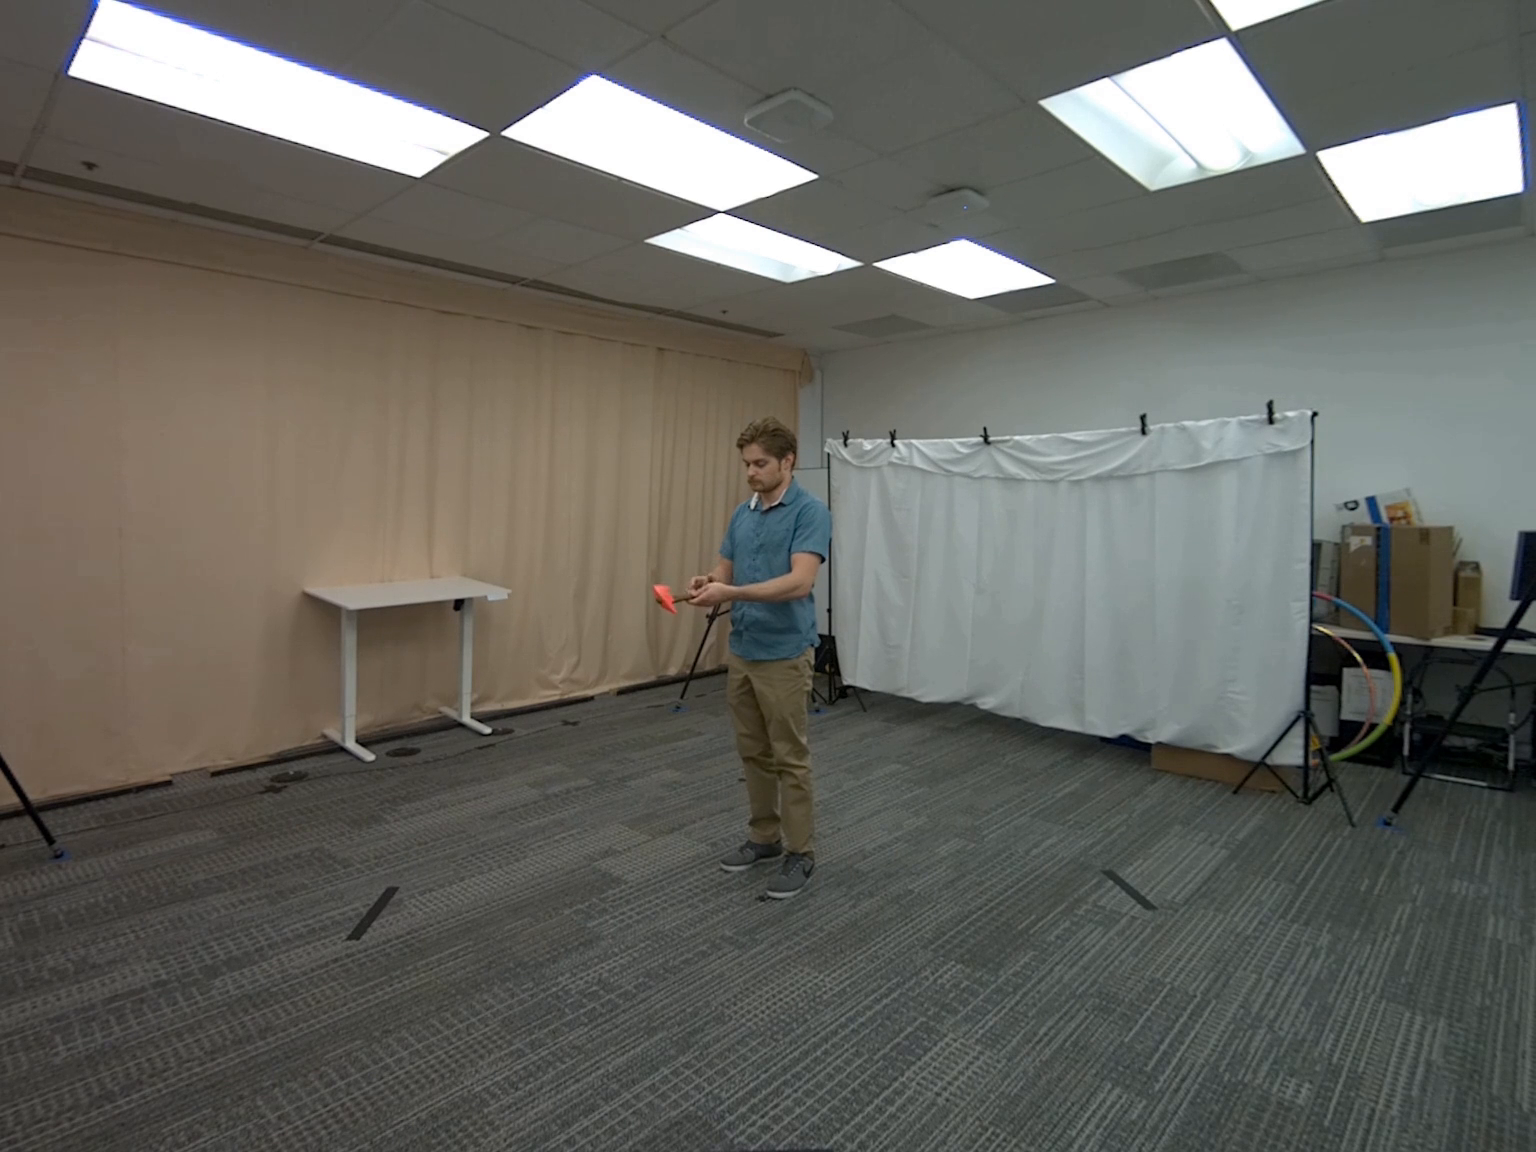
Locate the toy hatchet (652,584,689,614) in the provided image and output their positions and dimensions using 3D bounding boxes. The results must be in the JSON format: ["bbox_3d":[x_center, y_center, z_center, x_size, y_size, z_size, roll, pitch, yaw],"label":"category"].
[{"bbox_3d":[-0.290,0.056,2.867,0.134,0.029,0.265,36,26,15],"label":"toy hatchet"}]
